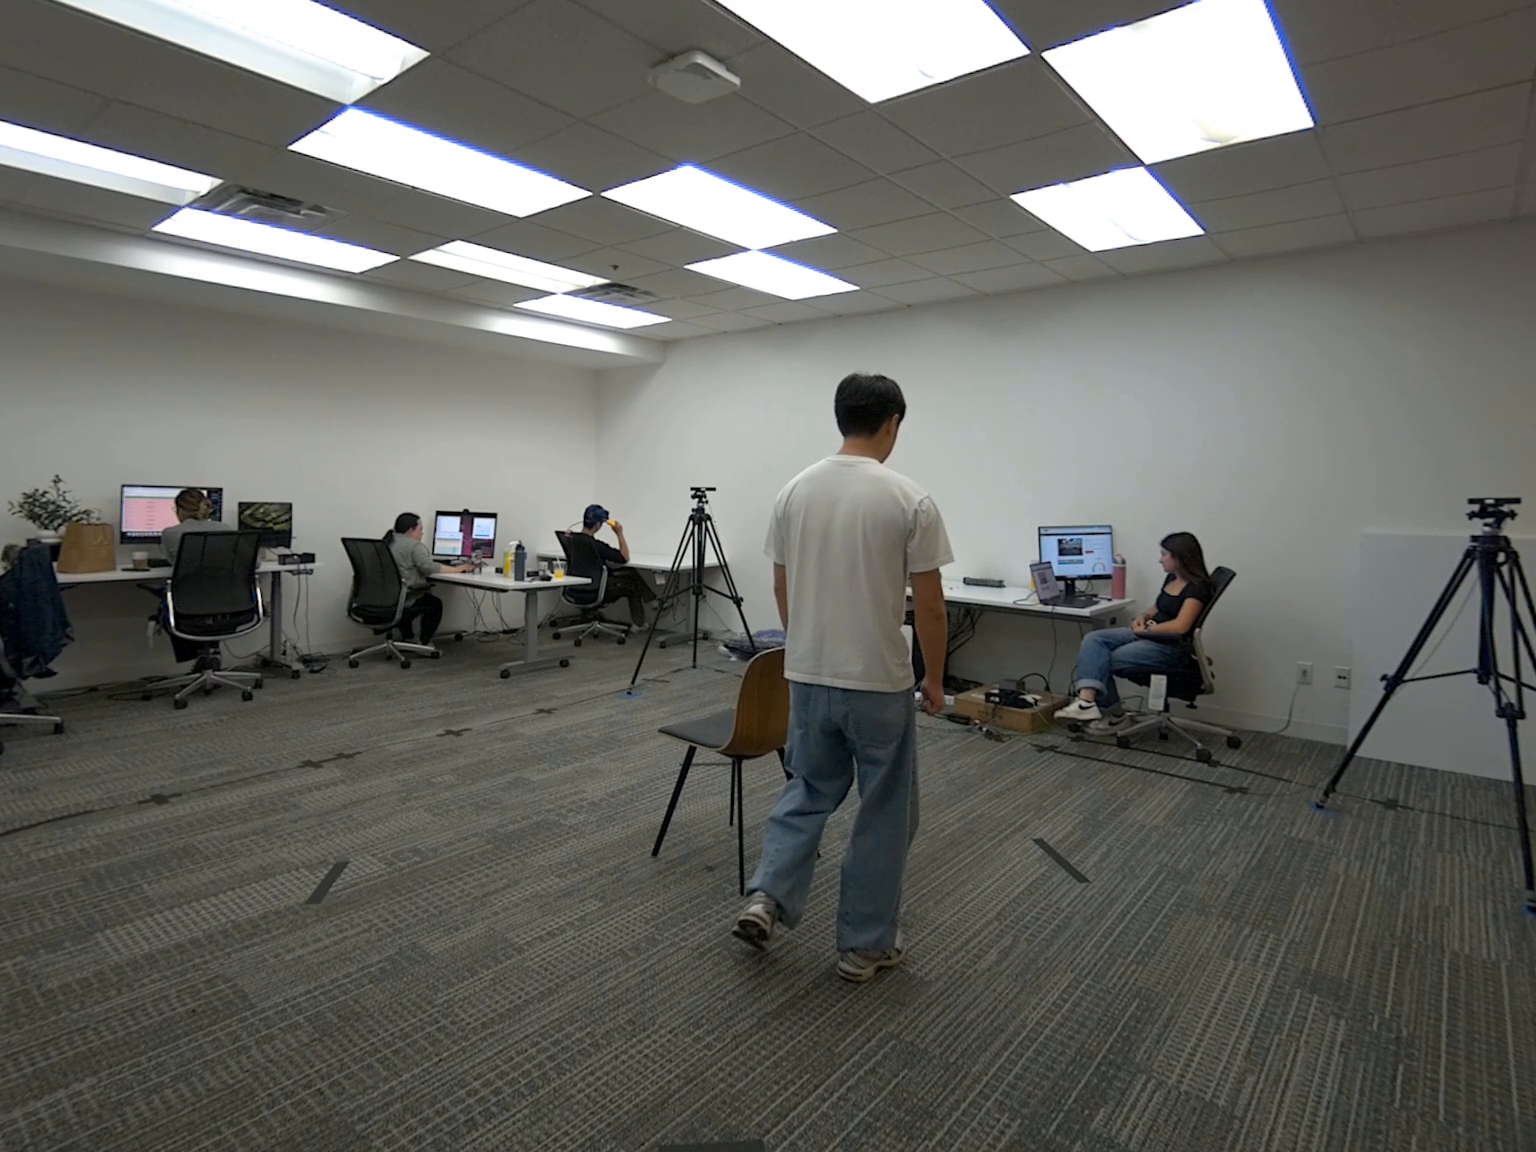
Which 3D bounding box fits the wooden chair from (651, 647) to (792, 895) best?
[{"bbox_3d":[-0.127,0.633,3.191,0.542,0.873,0.463,10,7,40],"label":"wooden chair"}]
